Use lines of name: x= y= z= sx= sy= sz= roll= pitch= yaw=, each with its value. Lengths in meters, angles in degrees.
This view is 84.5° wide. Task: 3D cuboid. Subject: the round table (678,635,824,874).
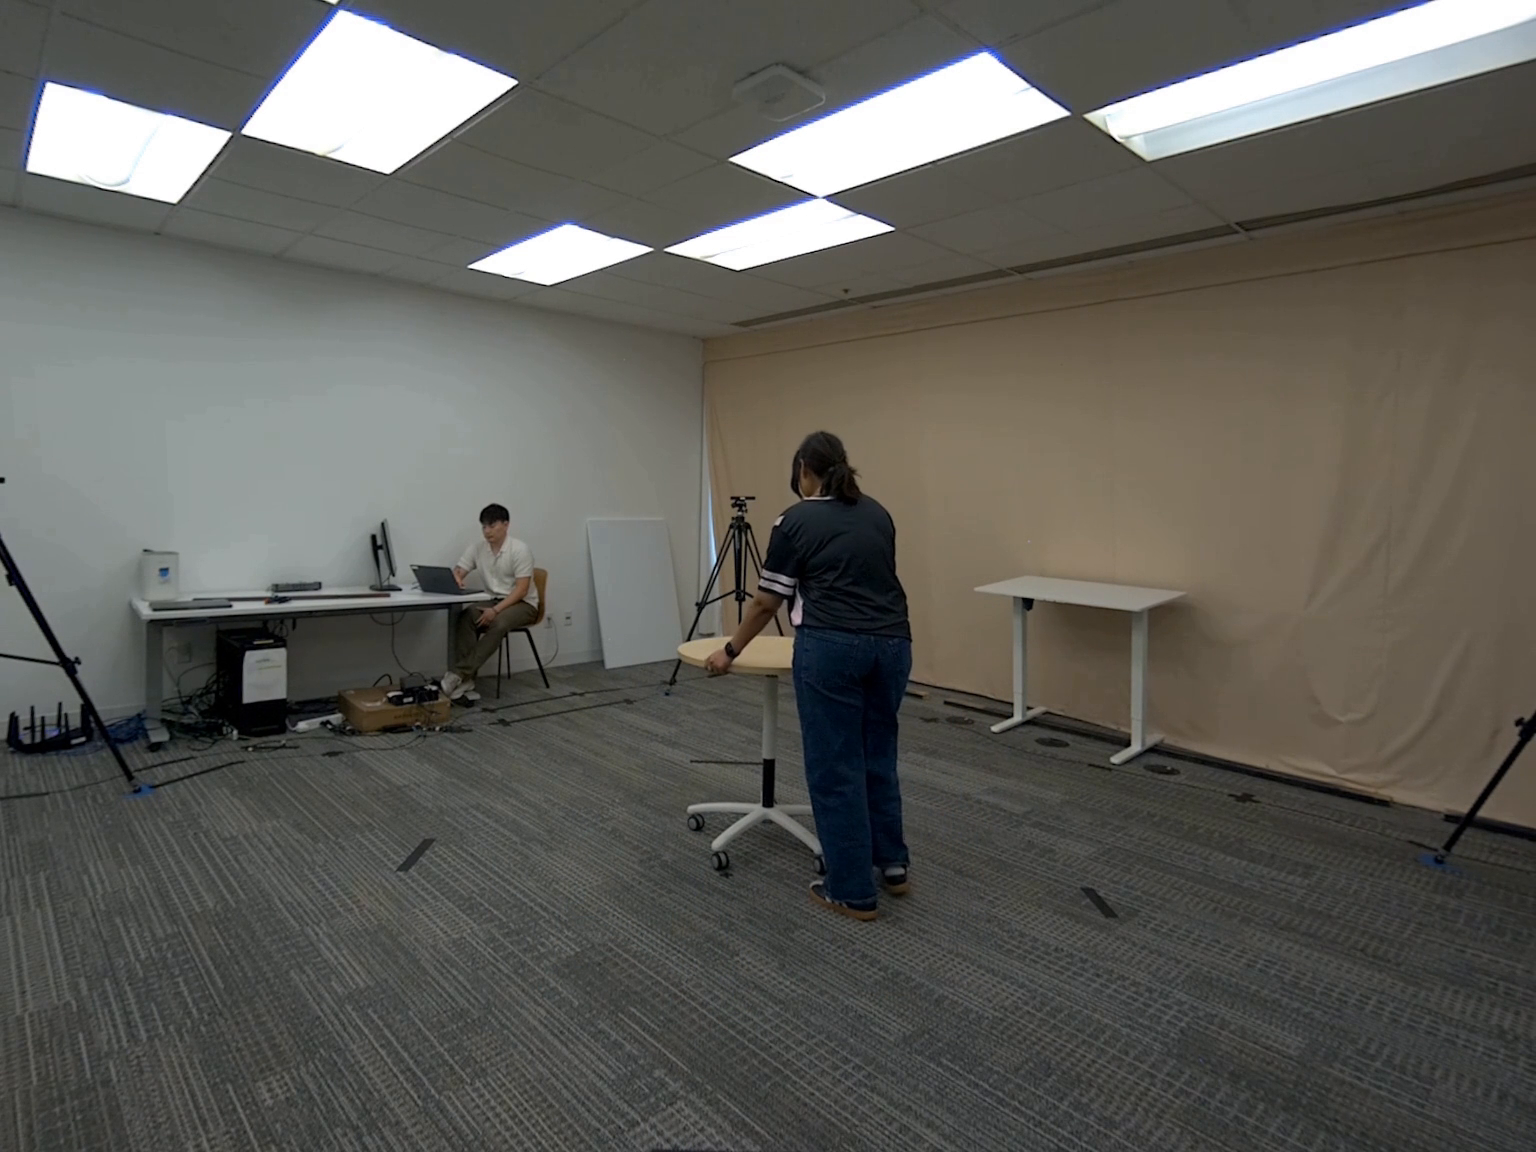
round table: x=0.003 y=0.686 z=3.406 sx=0.784 sy=0.785 sz=0.787 roll=1 pitch=3 yaw=-1
